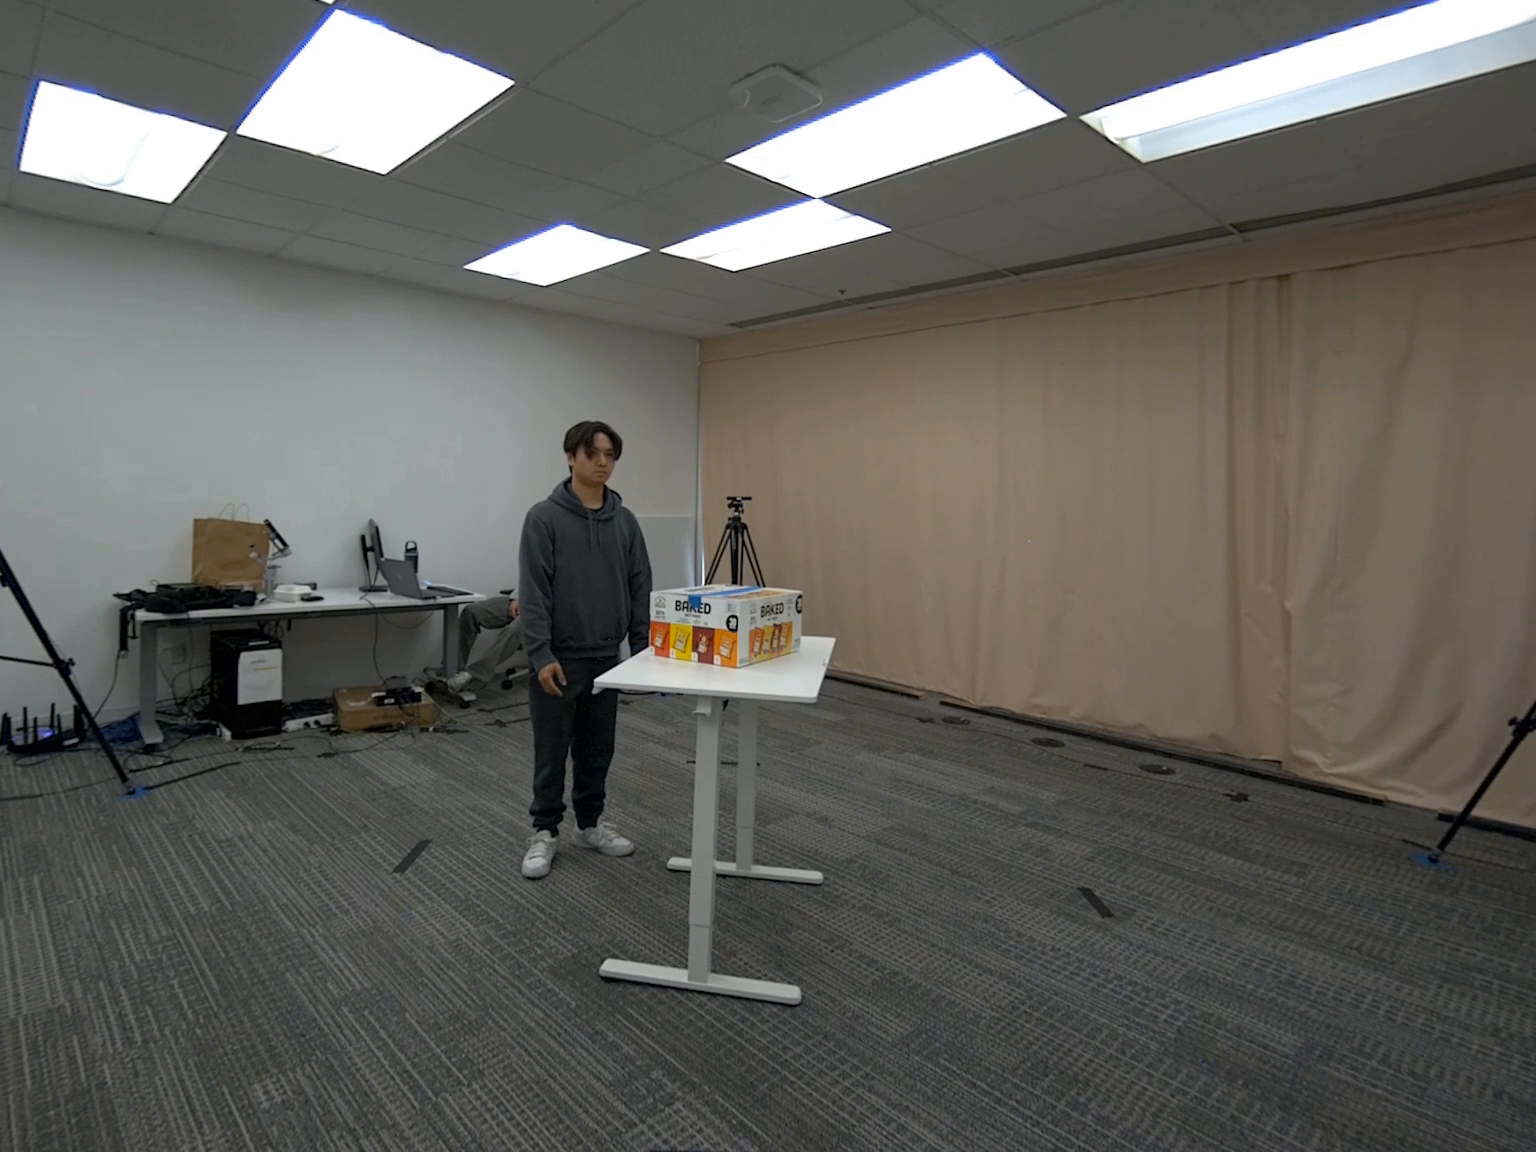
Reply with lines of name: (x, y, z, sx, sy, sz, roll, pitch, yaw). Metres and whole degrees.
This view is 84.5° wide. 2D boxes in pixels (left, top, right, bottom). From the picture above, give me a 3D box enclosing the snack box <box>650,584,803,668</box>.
snack box: (-0.139, 0.154, 2.759, 0.348, 0.205, 0.397, 5, 5, 31)
